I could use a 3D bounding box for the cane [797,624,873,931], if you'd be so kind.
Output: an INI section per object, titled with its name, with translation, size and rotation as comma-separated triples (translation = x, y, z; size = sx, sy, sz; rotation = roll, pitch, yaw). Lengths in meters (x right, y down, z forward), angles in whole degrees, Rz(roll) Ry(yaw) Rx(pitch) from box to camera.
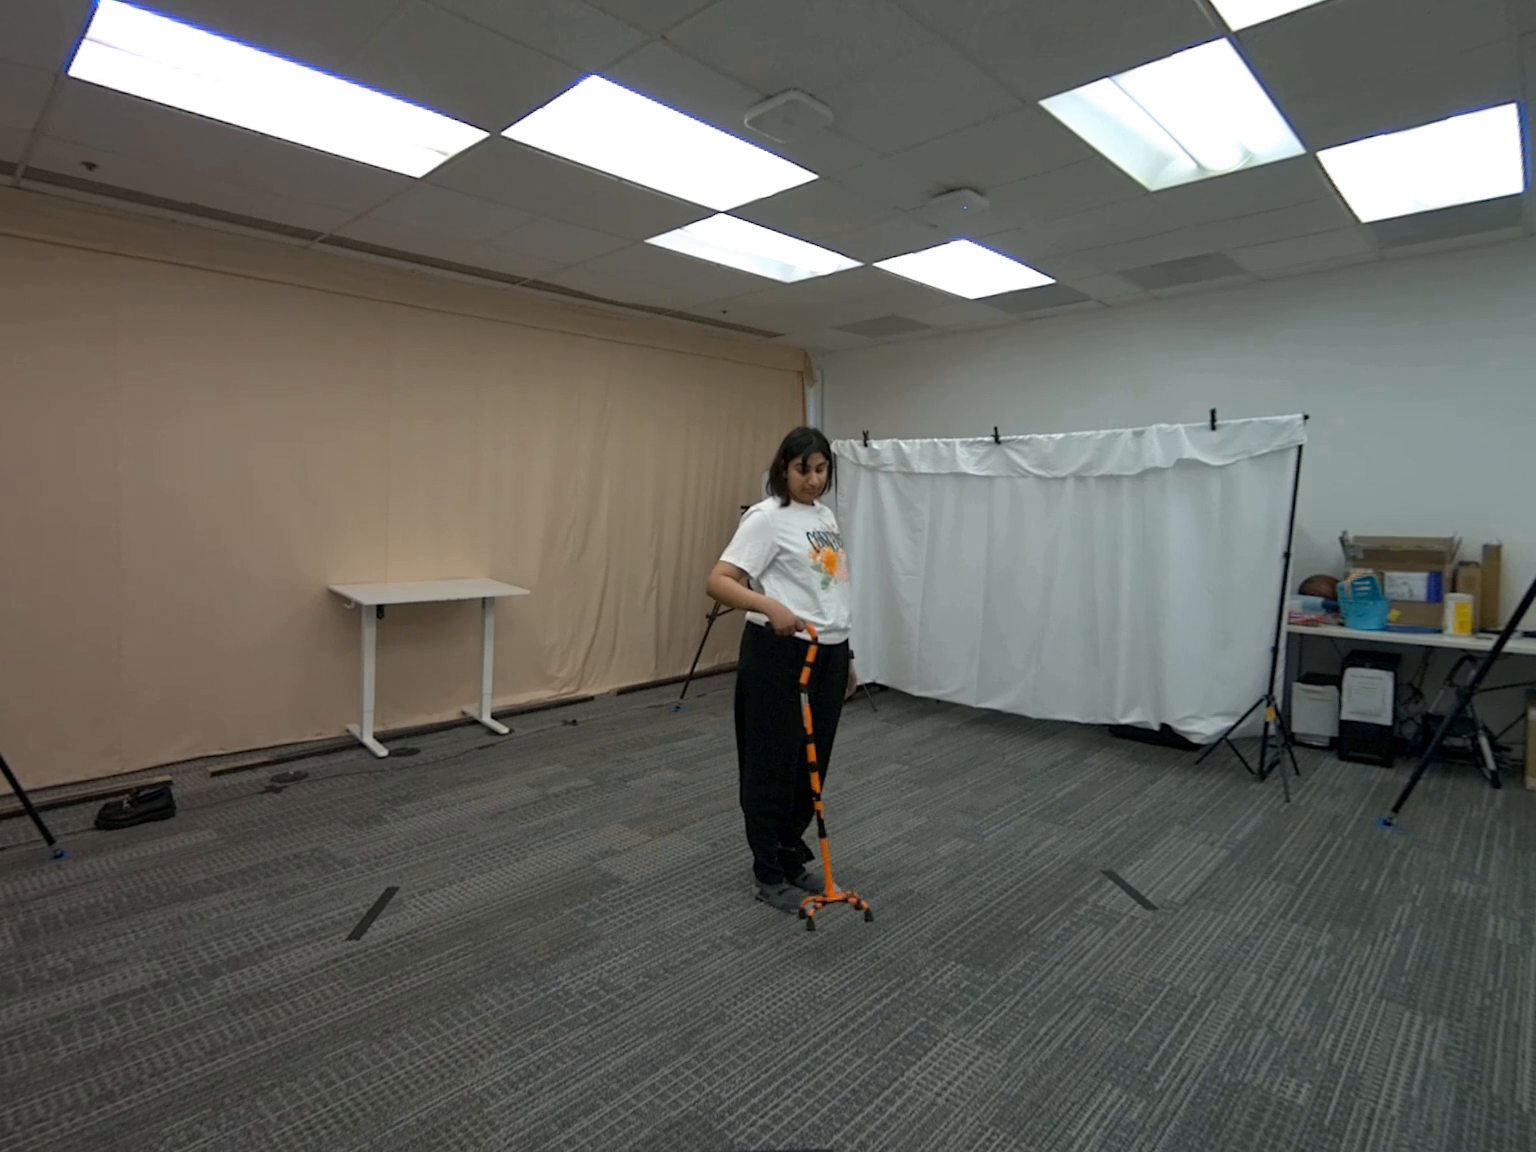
[cane]
translation = 0.152, 0.592, 2.600
size = 0.204, 0.912, 0.152
rotation = -5, -6, -11
